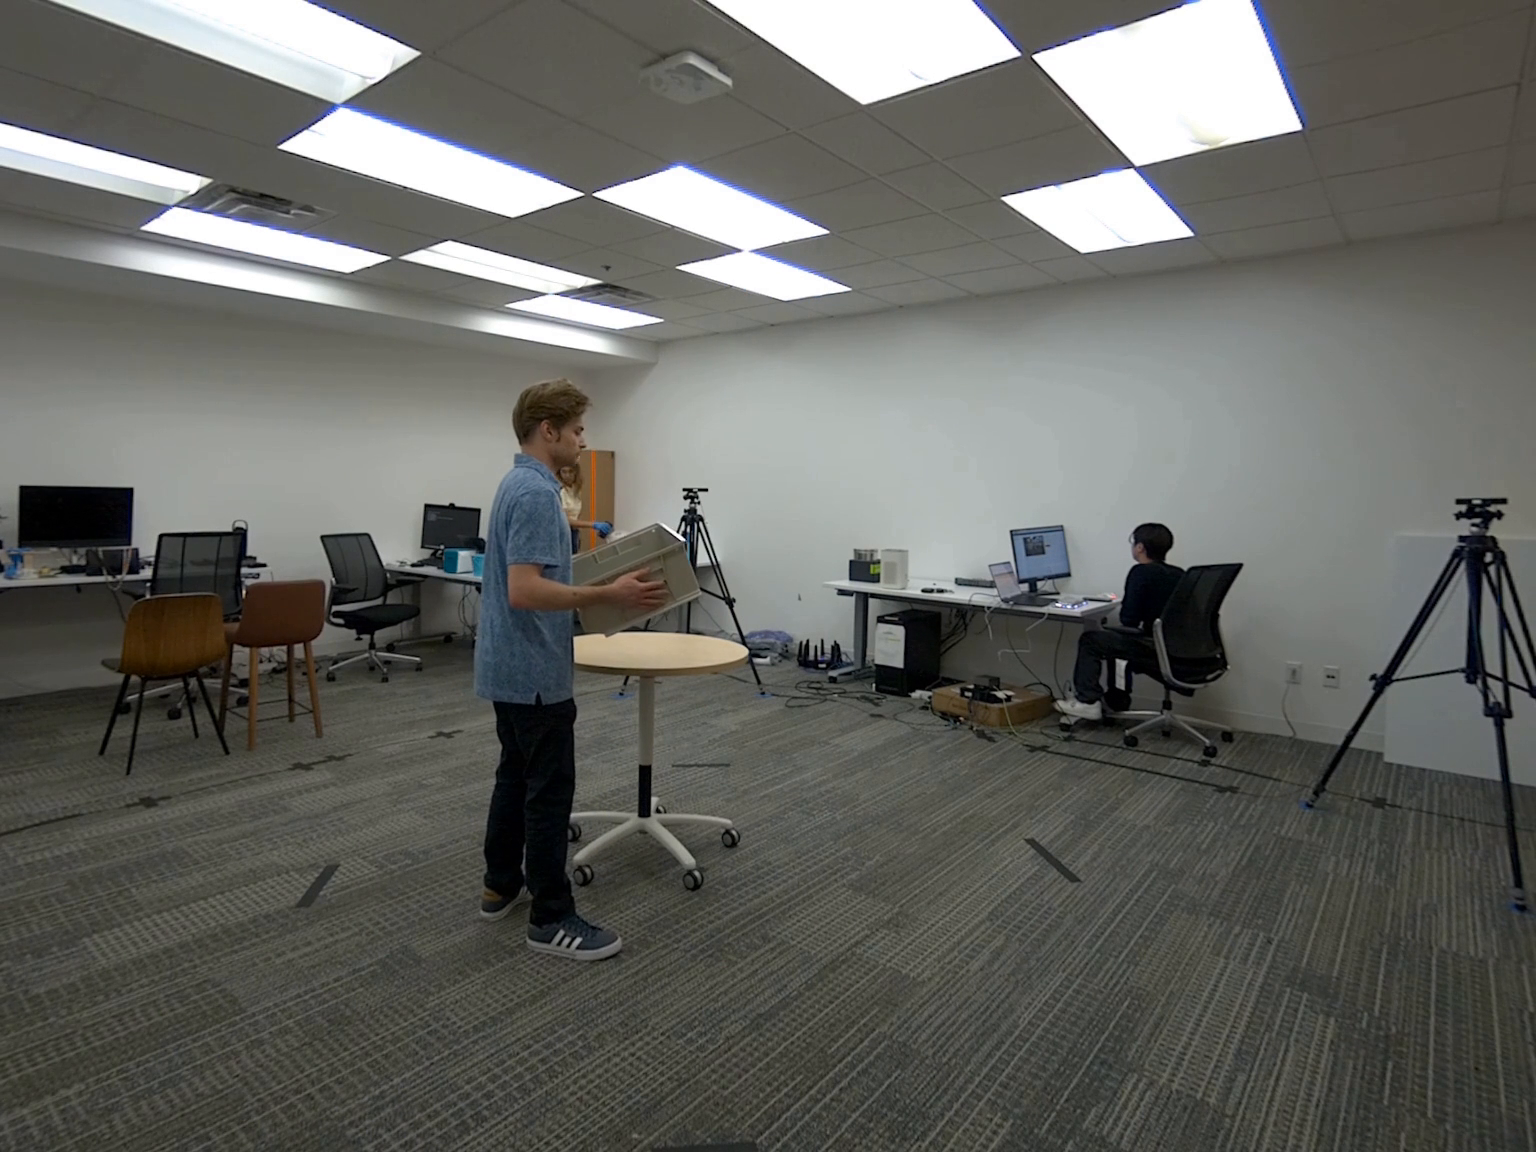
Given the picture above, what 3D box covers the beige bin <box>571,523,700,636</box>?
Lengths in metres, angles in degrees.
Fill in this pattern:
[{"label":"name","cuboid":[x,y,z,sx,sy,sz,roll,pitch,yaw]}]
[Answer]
[{"label":"beige bin","cuboid":[-0.461,0.012,2.702,0.375,0.185,0.433,-23,17,-12]}]
